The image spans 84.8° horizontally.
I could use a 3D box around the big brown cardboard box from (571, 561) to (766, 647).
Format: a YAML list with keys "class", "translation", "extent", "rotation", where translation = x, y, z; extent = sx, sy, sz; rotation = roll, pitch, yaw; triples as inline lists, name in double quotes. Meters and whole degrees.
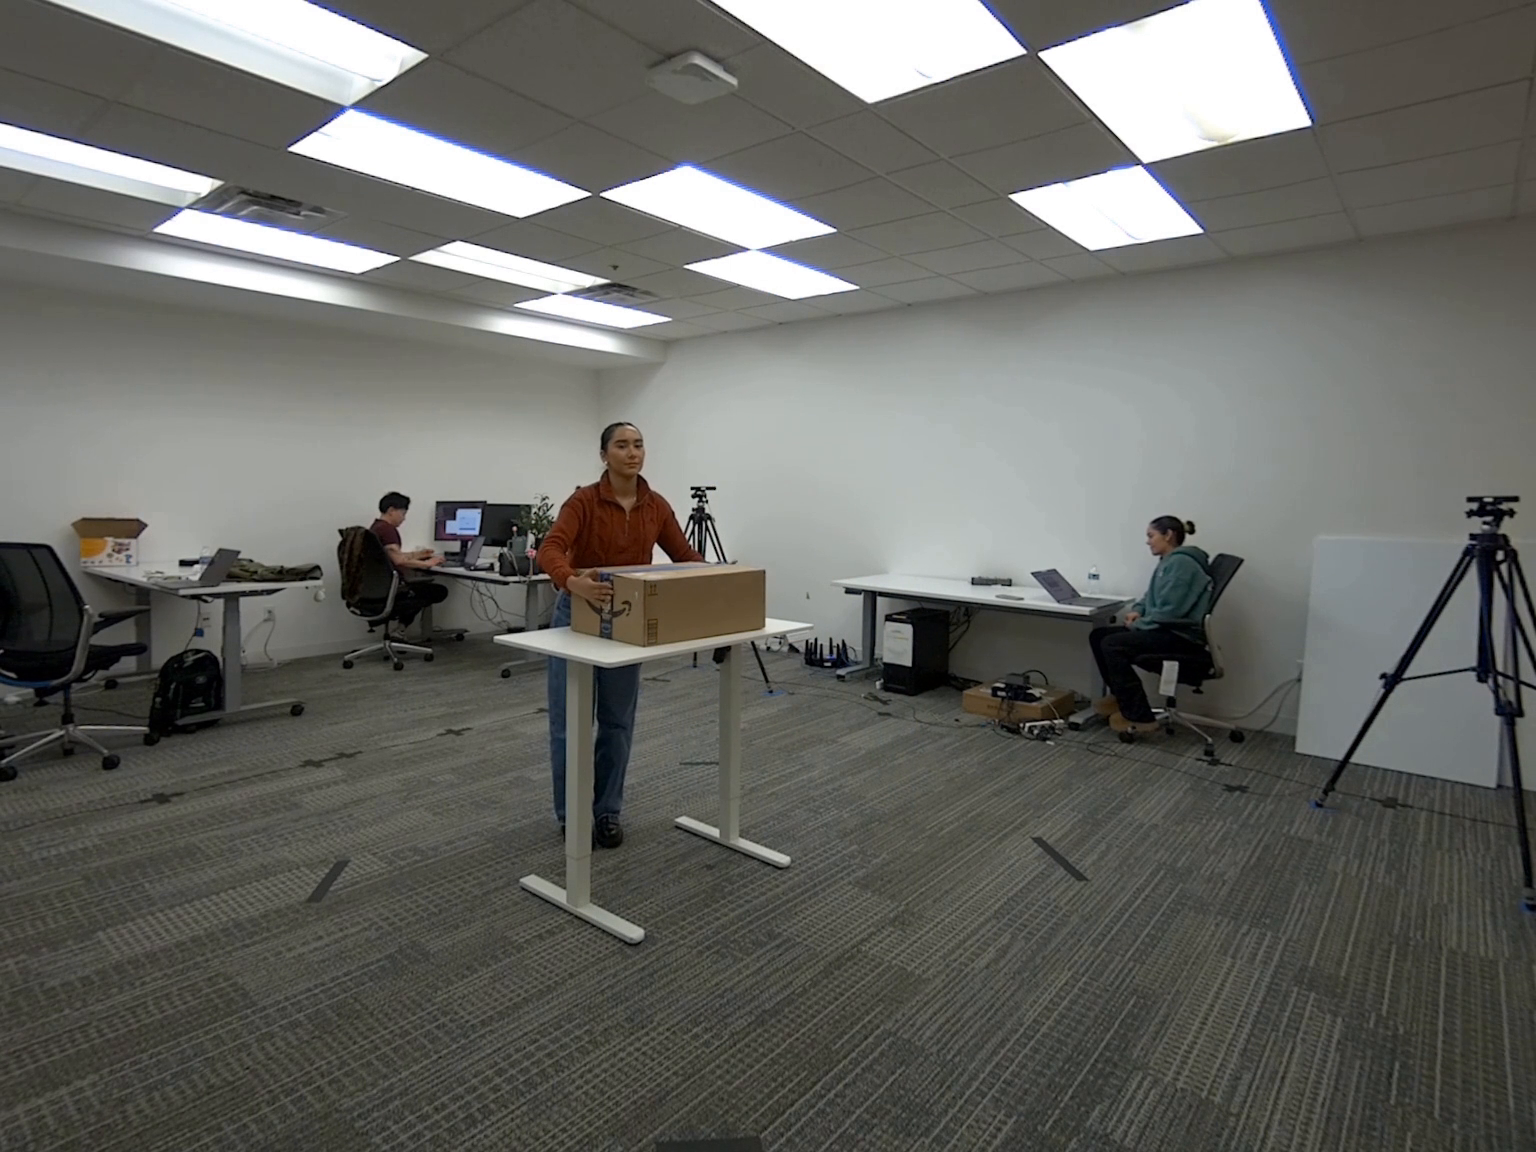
- class: "big brown cardboard box"
  translation: [-0.359, 0.082, 3.010]
  extent: [0.571, 0.232, 0.432]
  rotation: [-3, 6, -44]
